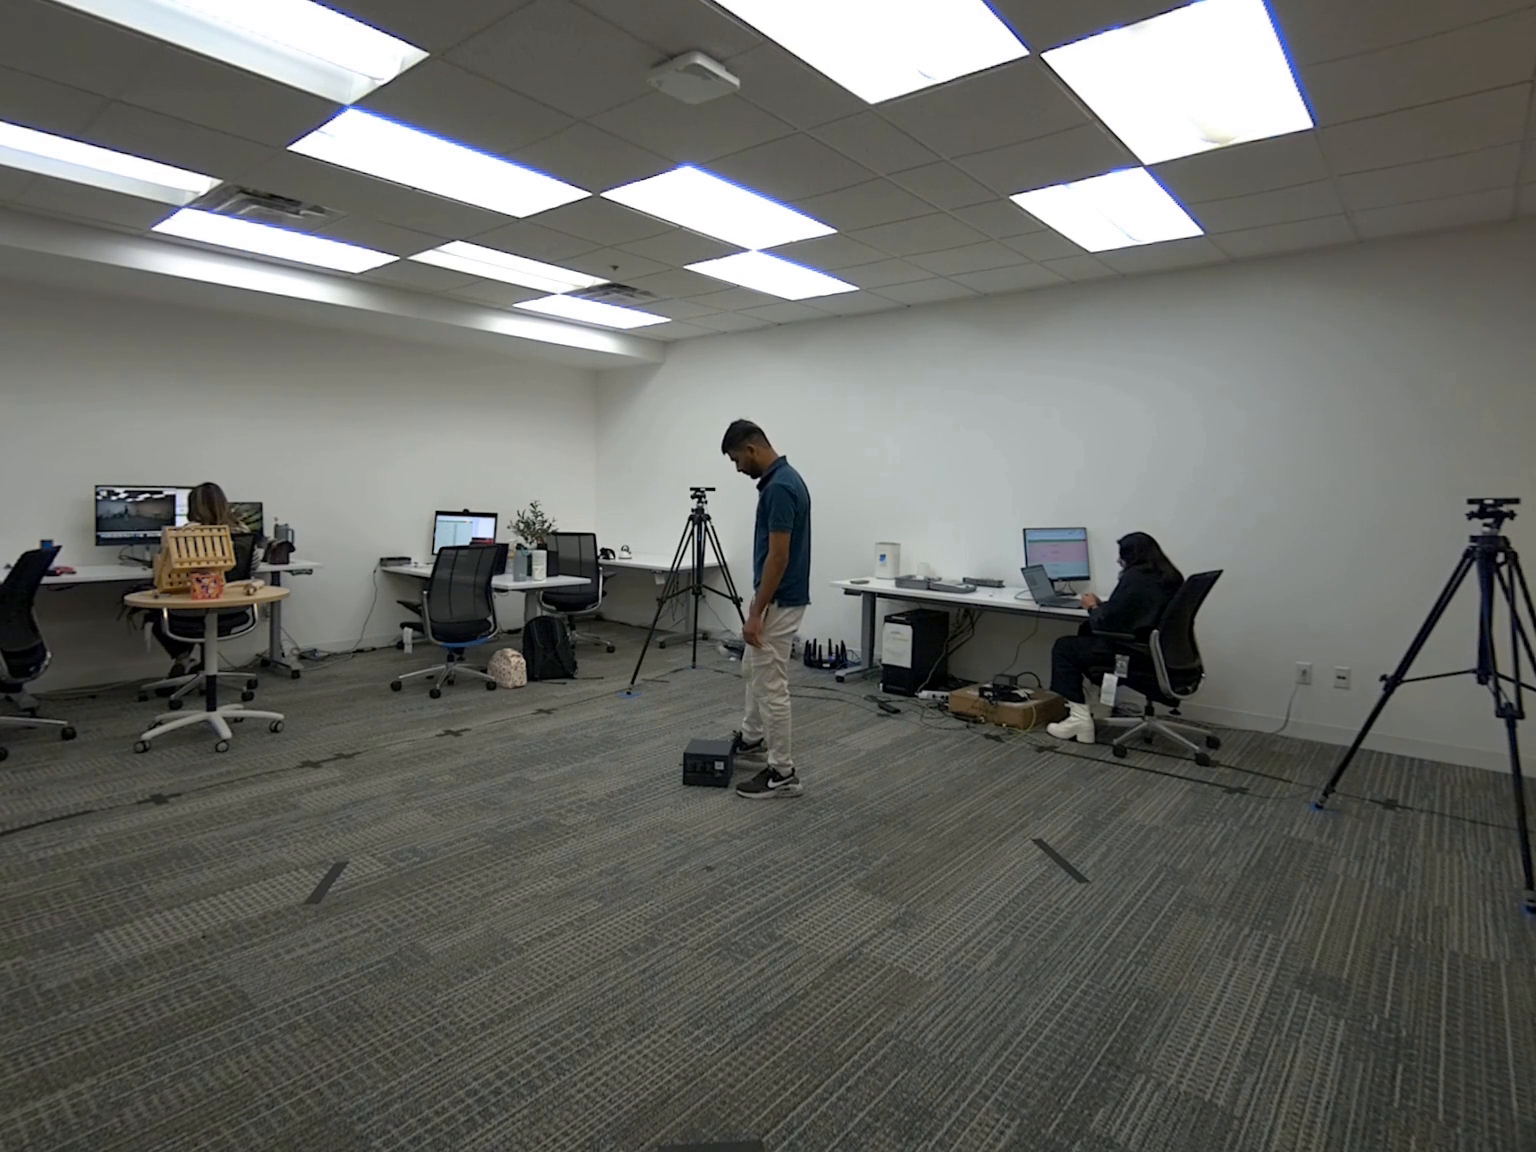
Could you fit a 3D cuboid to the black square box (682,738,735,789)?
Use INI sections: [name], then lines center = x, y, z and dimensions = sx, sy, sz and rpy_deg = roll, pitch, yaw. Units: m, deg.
[black square box]
center = -0.296, 0.887, 4.084
dimensions = 0.218, 0.155, 0.227
rpy_deg = 2, 5, 5
